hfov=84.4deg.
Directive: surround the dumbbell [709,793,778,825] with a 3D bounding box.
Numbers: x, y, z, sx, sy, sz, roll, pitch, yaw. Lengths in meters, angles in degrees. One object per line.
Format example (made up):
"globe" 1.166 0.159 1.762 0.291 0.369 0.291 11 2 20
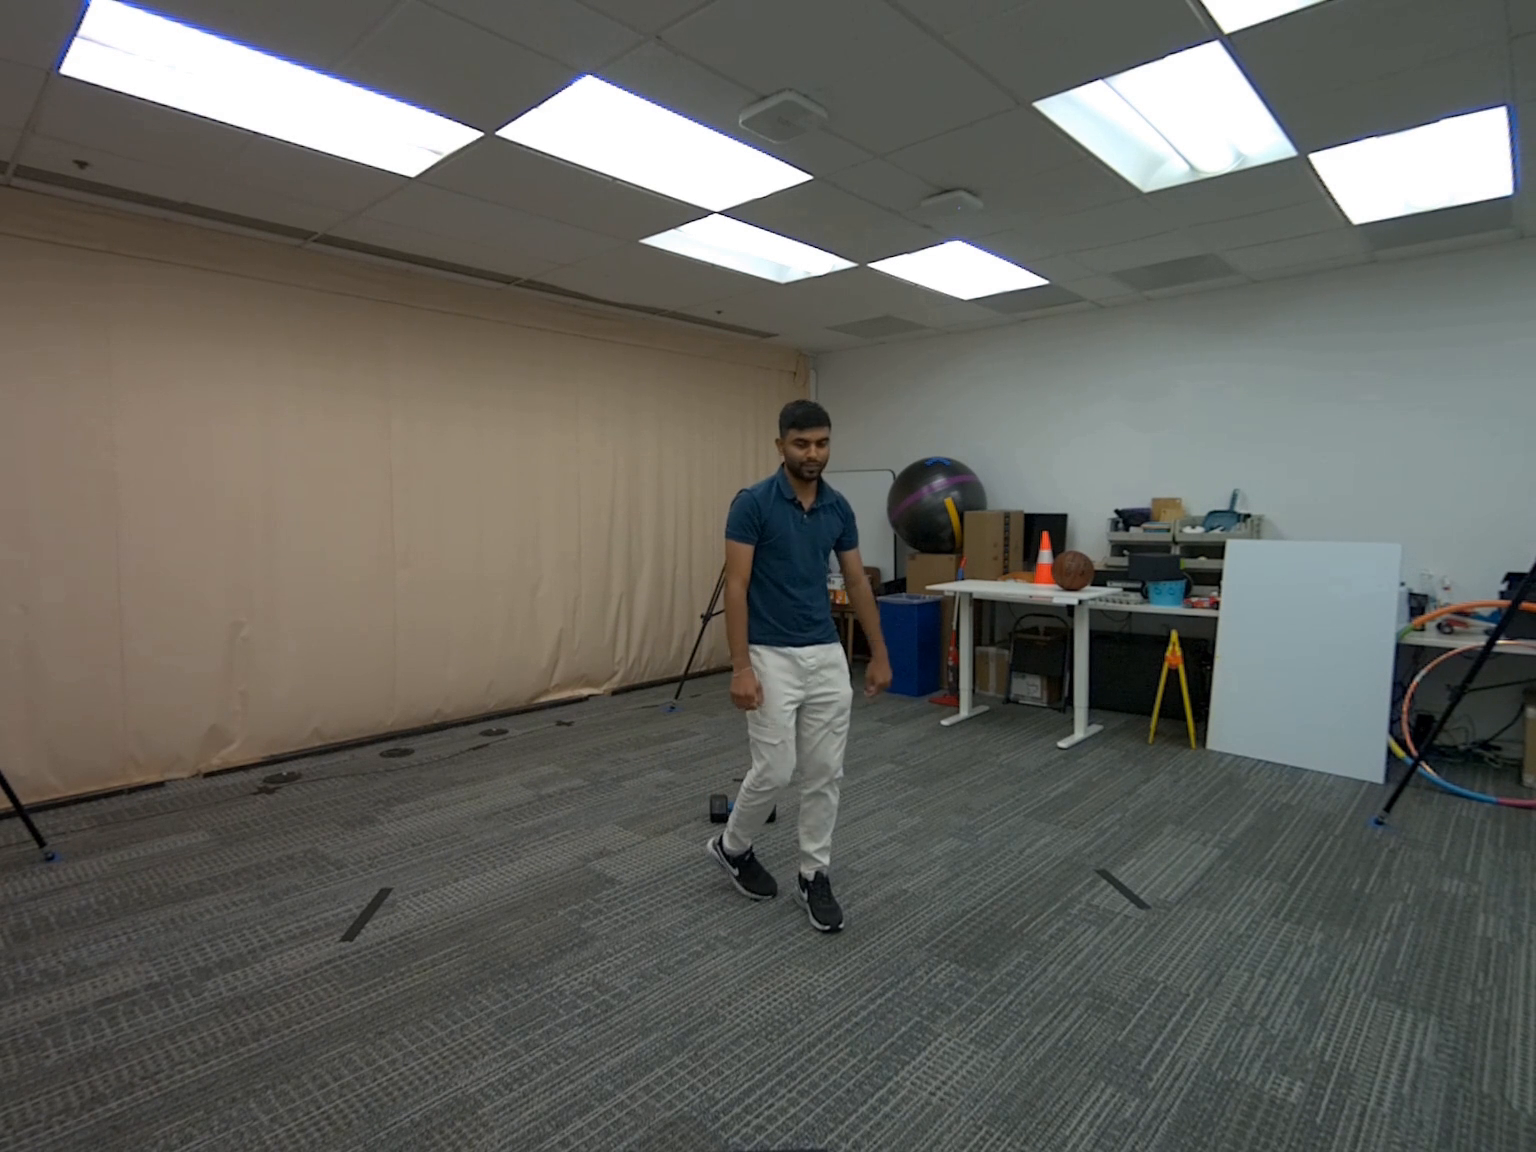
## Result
"dumbbell" -0.113 1.035 3.732 0.293 0.121 0.111 0 35 -2
